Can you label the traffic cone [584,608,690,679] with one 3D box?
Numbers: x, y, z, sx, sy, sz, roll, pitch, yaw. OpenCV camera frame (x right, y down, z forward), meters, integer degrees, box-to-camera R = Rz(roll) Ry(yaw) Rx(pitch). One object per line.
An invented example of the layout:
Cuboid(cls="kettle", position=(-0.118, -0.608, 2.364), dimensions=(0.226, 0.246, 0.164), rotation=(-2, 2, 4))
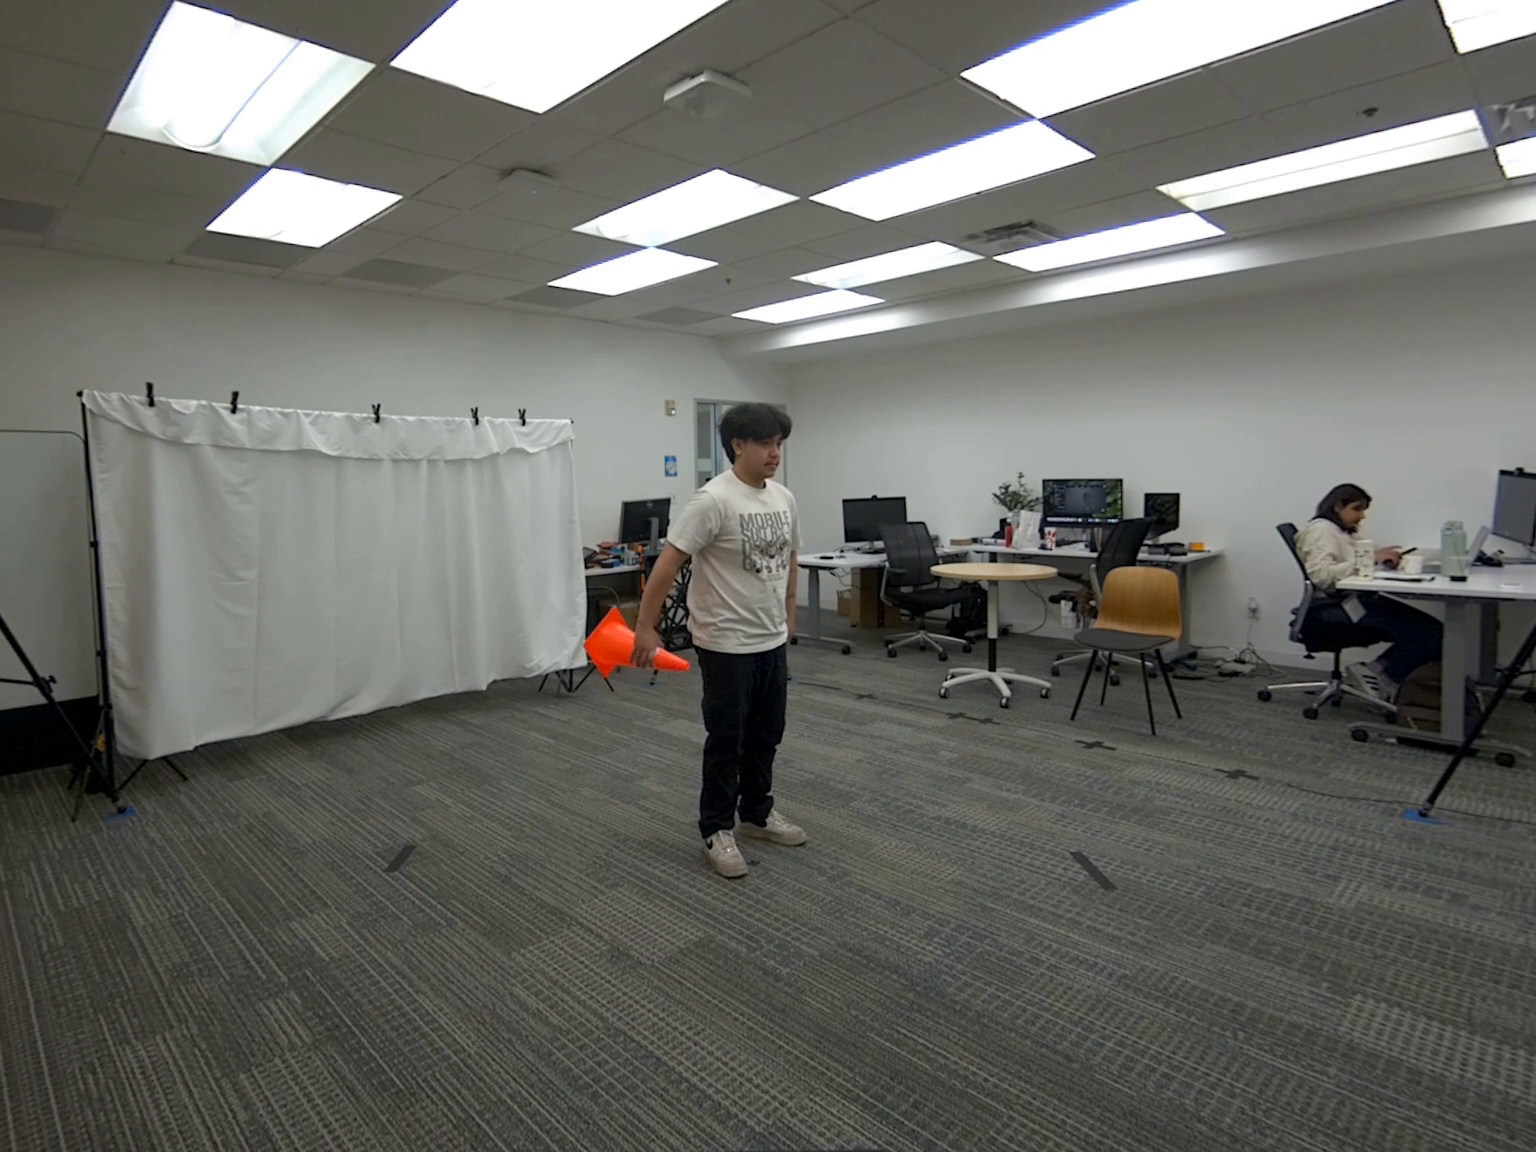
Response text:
Cuboid(cls="traffic cone", position=(-0.431, 0.274, 3.083), dimensions=(0.396, 0.197, 0.204), rotation=(12, 54, 34))
